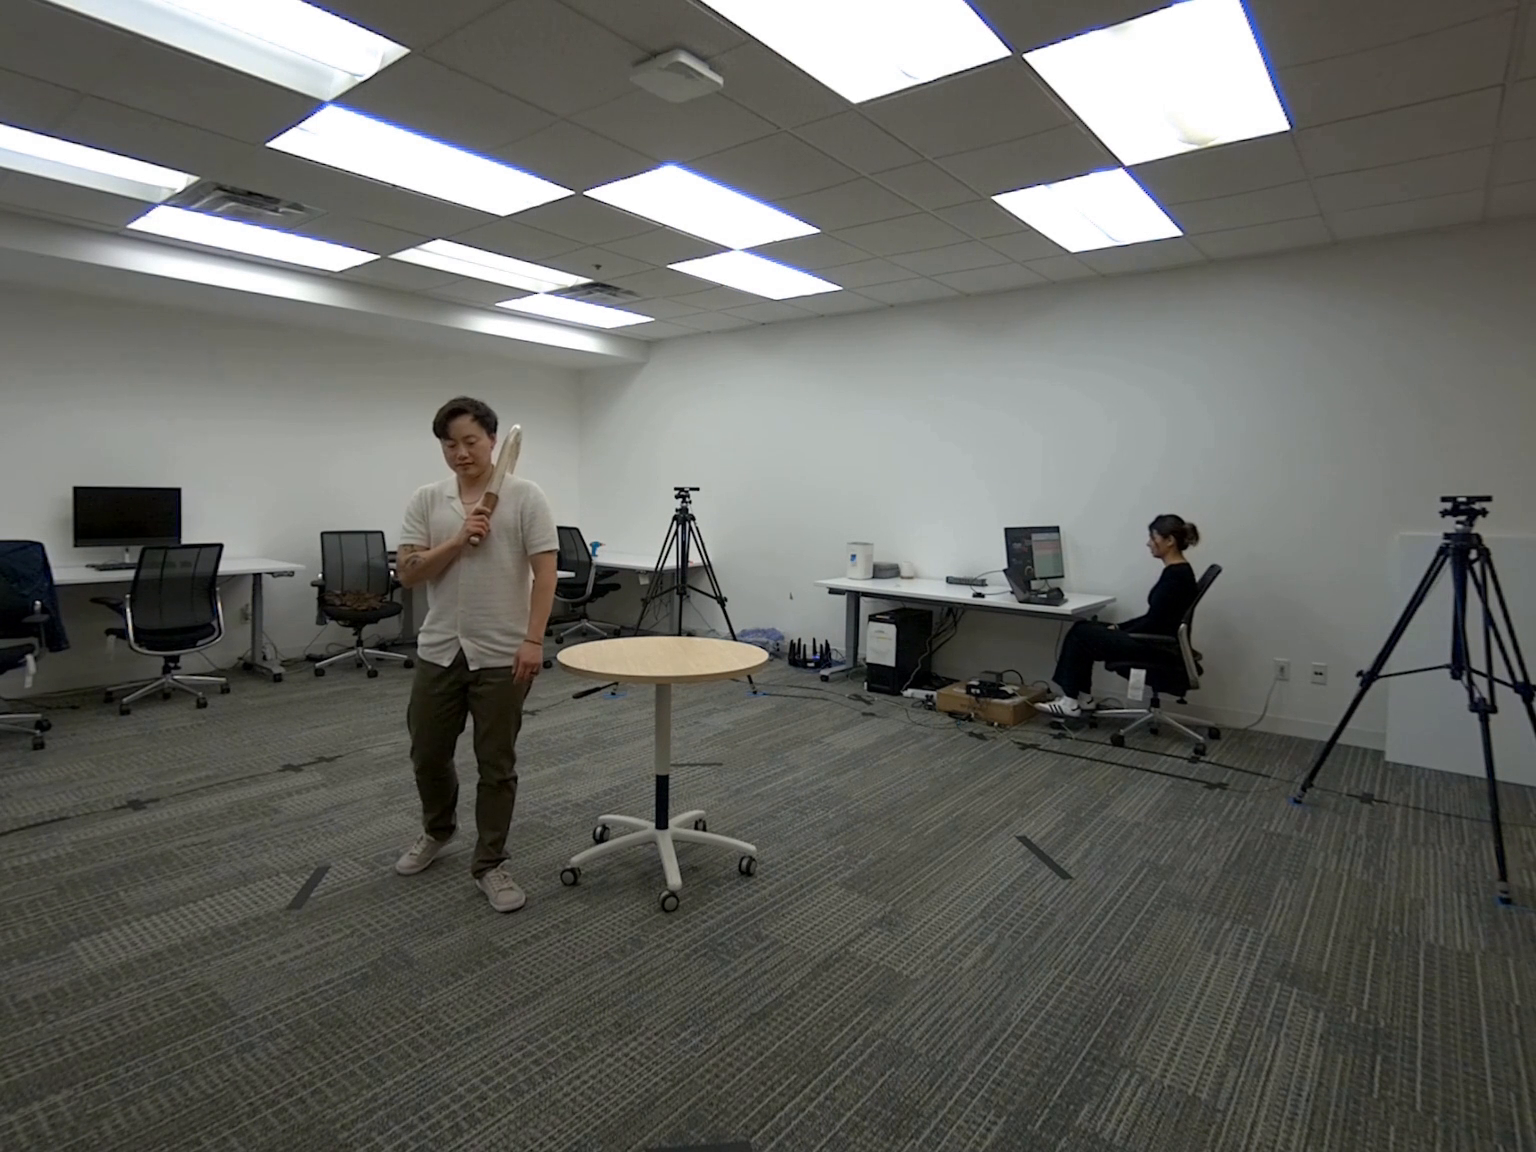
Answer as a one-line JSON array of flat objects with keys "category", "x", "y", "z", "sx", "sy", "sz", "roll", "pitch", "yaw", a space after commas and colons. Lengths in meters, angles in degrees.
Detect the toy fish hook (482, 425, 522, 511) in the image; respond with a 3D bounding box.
[{"category": "toy fish hook", "x": -0.936, "y": -0.289, "z": 2.881, "sx": 0.048, "sy": 0.517, "sz": 0.220, "roll": 12, "pitch": -32, "yaw": -4}]
